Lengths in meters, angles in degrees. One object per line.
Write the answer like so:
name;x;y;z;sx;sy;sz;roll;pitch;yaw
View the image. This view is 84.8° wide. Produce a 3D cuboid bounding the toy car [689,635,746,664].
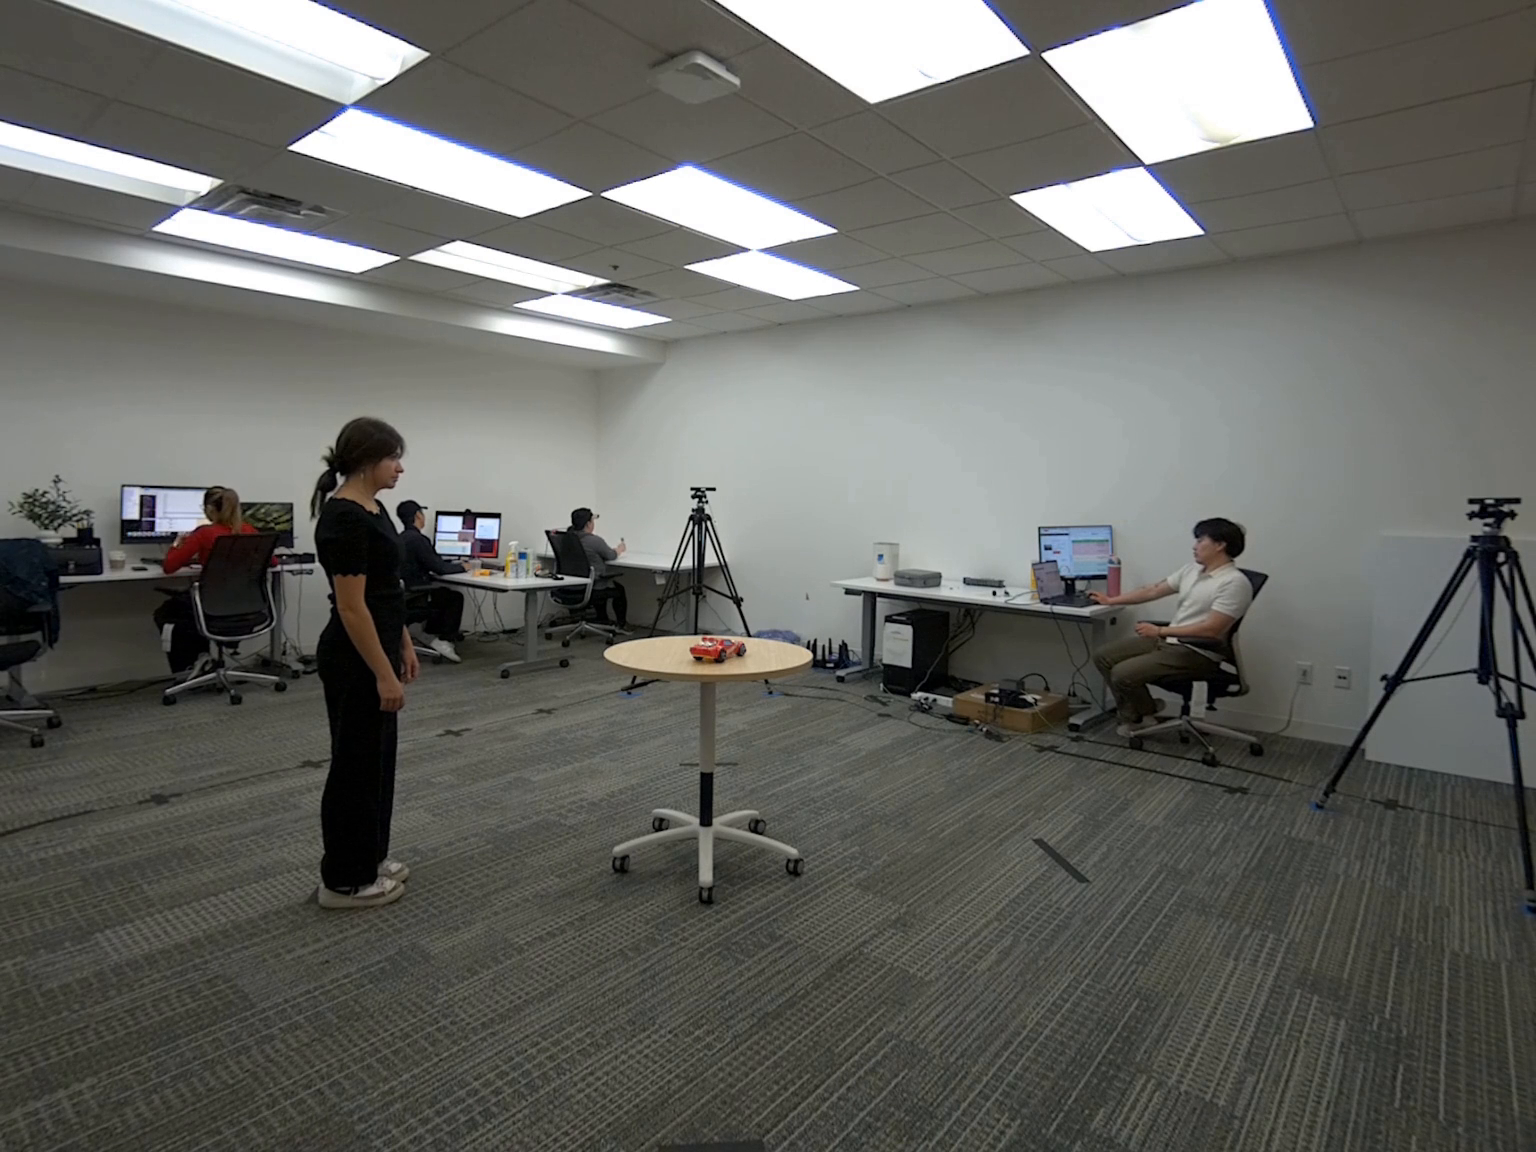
toy car;-0.195;0.263;3.006;0.134;0.084;0.246;2;-6;29
